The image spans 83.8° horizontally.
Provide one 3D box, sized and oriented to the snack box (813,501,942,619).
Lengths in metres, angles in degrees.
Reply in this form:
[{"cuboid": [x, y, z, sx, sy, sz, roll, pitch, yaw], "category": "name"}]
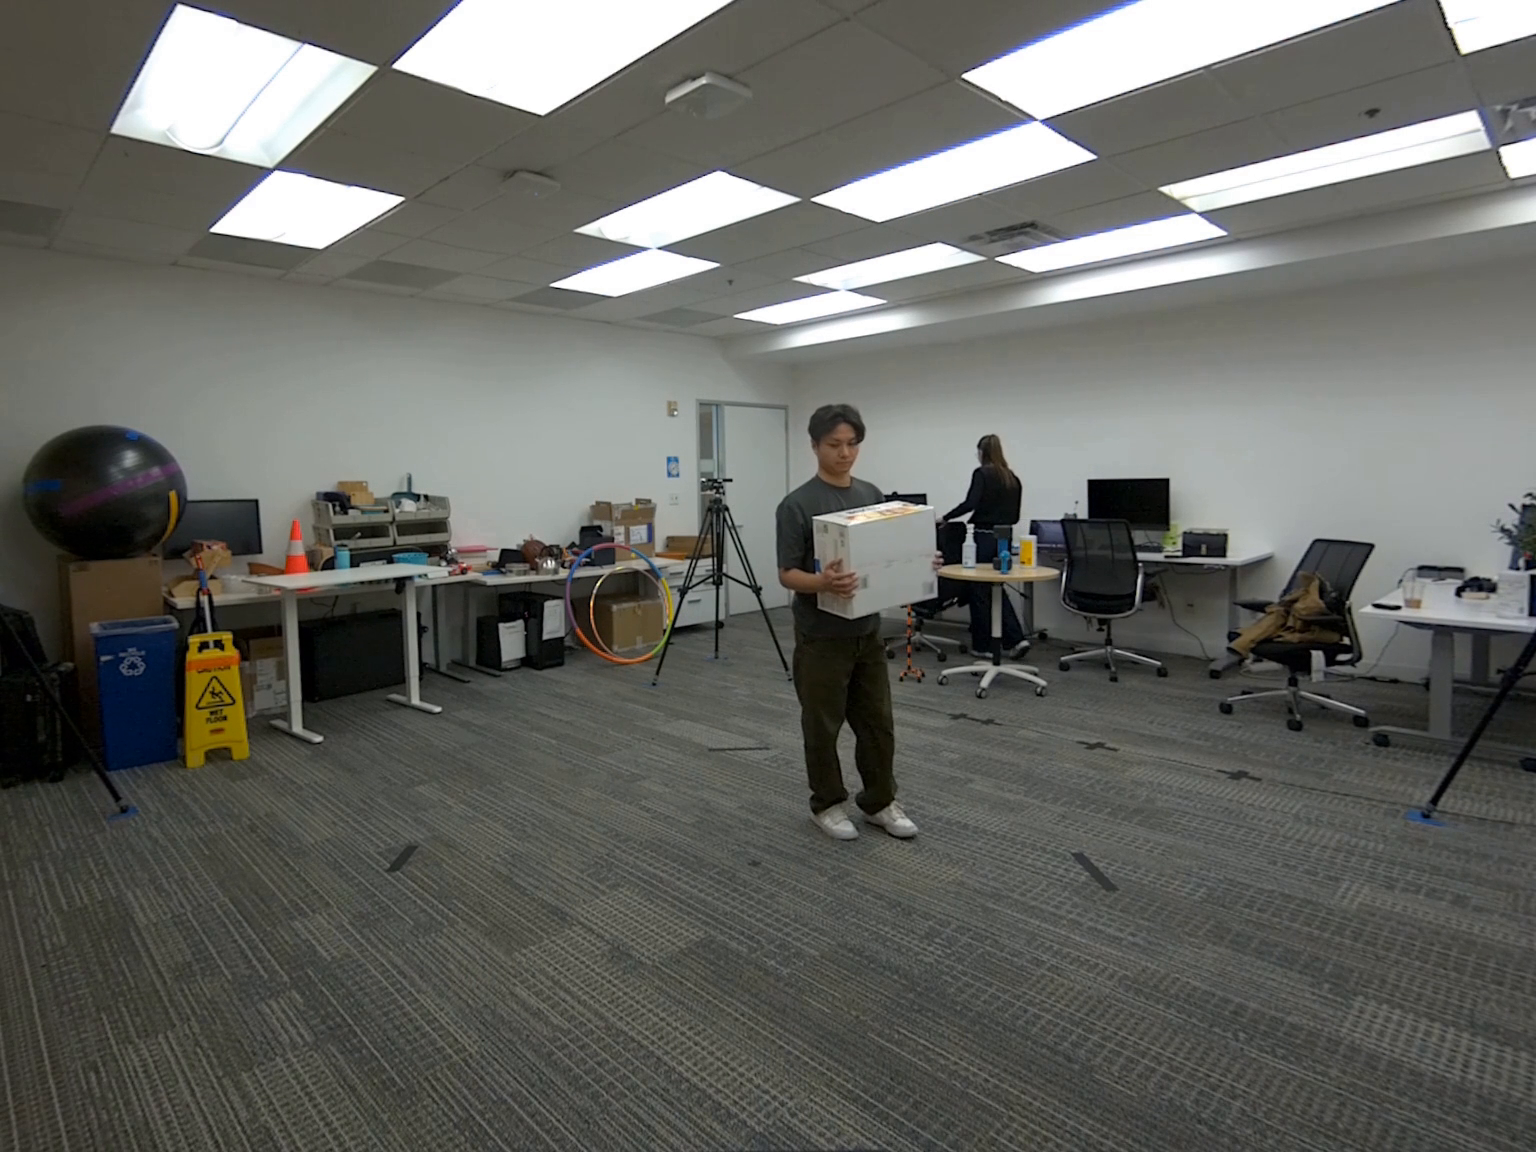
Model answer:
[{"cuboid": [0.395, -0.064, 3.102, 0.397, 0.336, 0.212, -12, 13, -29], "category": "snack box"}]
